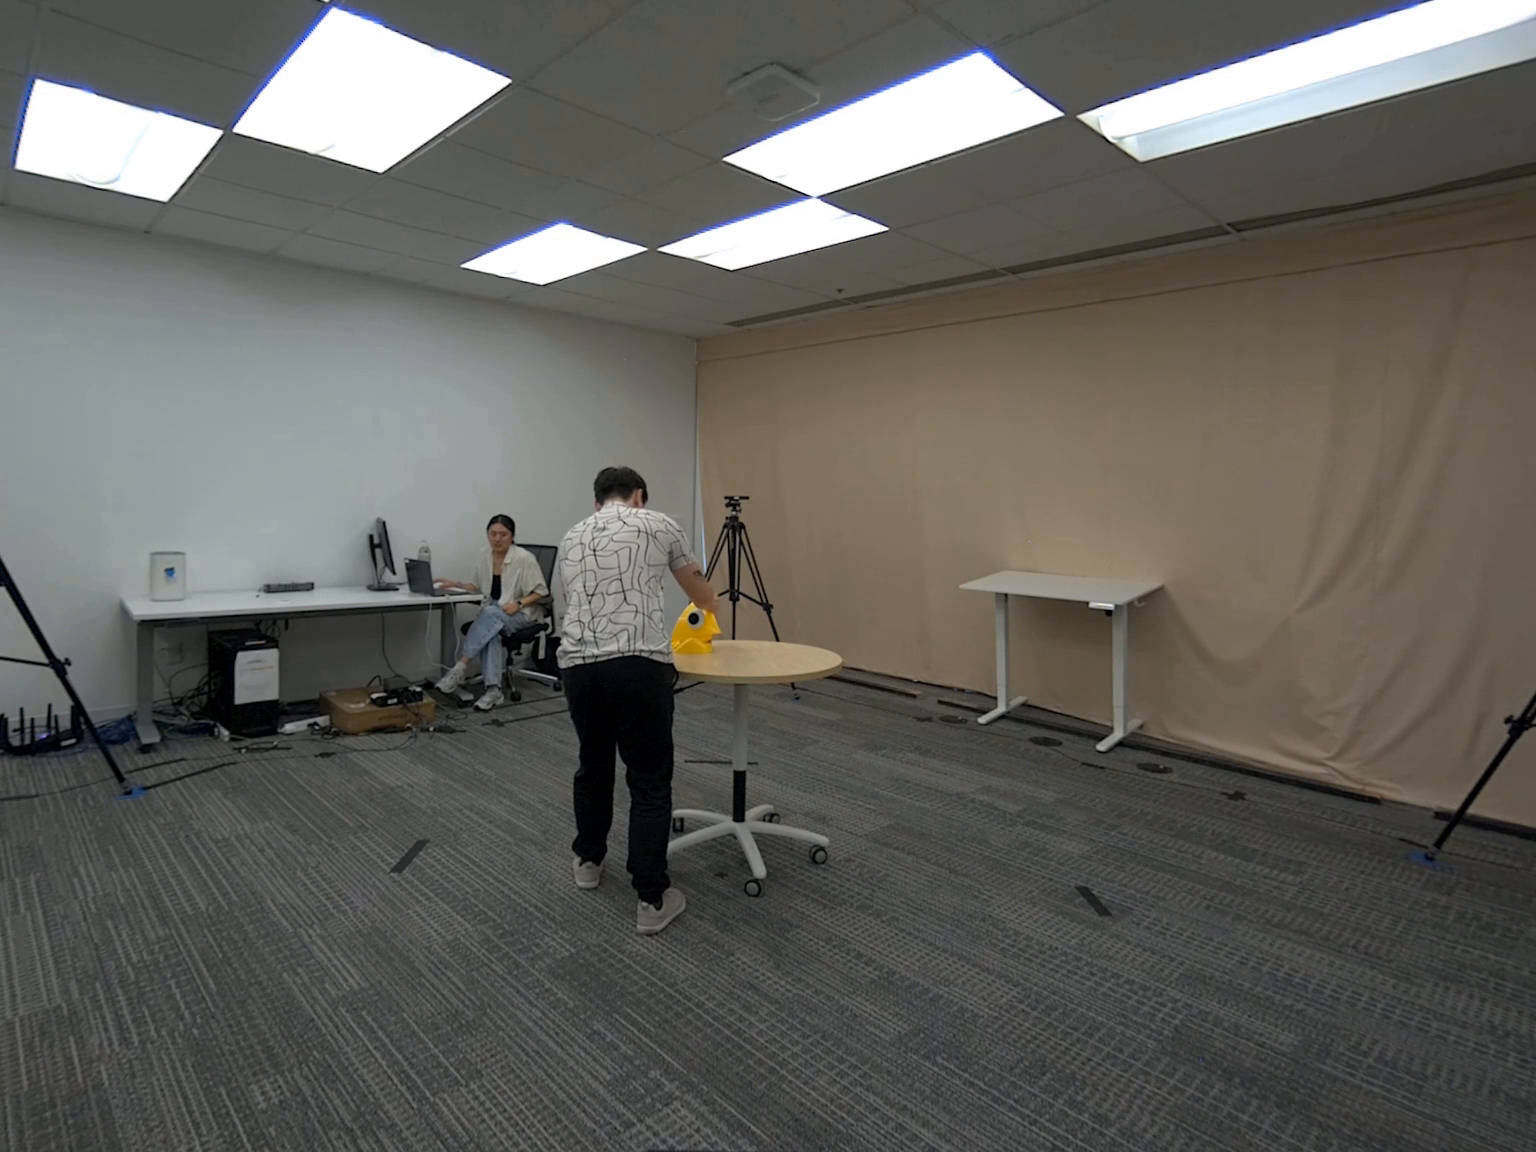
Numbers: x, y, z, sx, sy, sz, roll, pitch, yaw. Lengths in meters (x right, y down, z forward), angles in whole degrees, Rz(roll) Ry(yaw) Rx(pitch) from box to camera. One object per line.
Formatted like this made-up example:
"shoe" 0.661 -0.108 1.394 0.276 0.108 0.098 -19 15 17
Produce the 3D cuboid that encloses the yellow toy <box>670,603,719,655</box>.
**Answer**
"yellow toy" -0.302 0.181 3.376 0.191 0.230 0.207 0 5 -12
